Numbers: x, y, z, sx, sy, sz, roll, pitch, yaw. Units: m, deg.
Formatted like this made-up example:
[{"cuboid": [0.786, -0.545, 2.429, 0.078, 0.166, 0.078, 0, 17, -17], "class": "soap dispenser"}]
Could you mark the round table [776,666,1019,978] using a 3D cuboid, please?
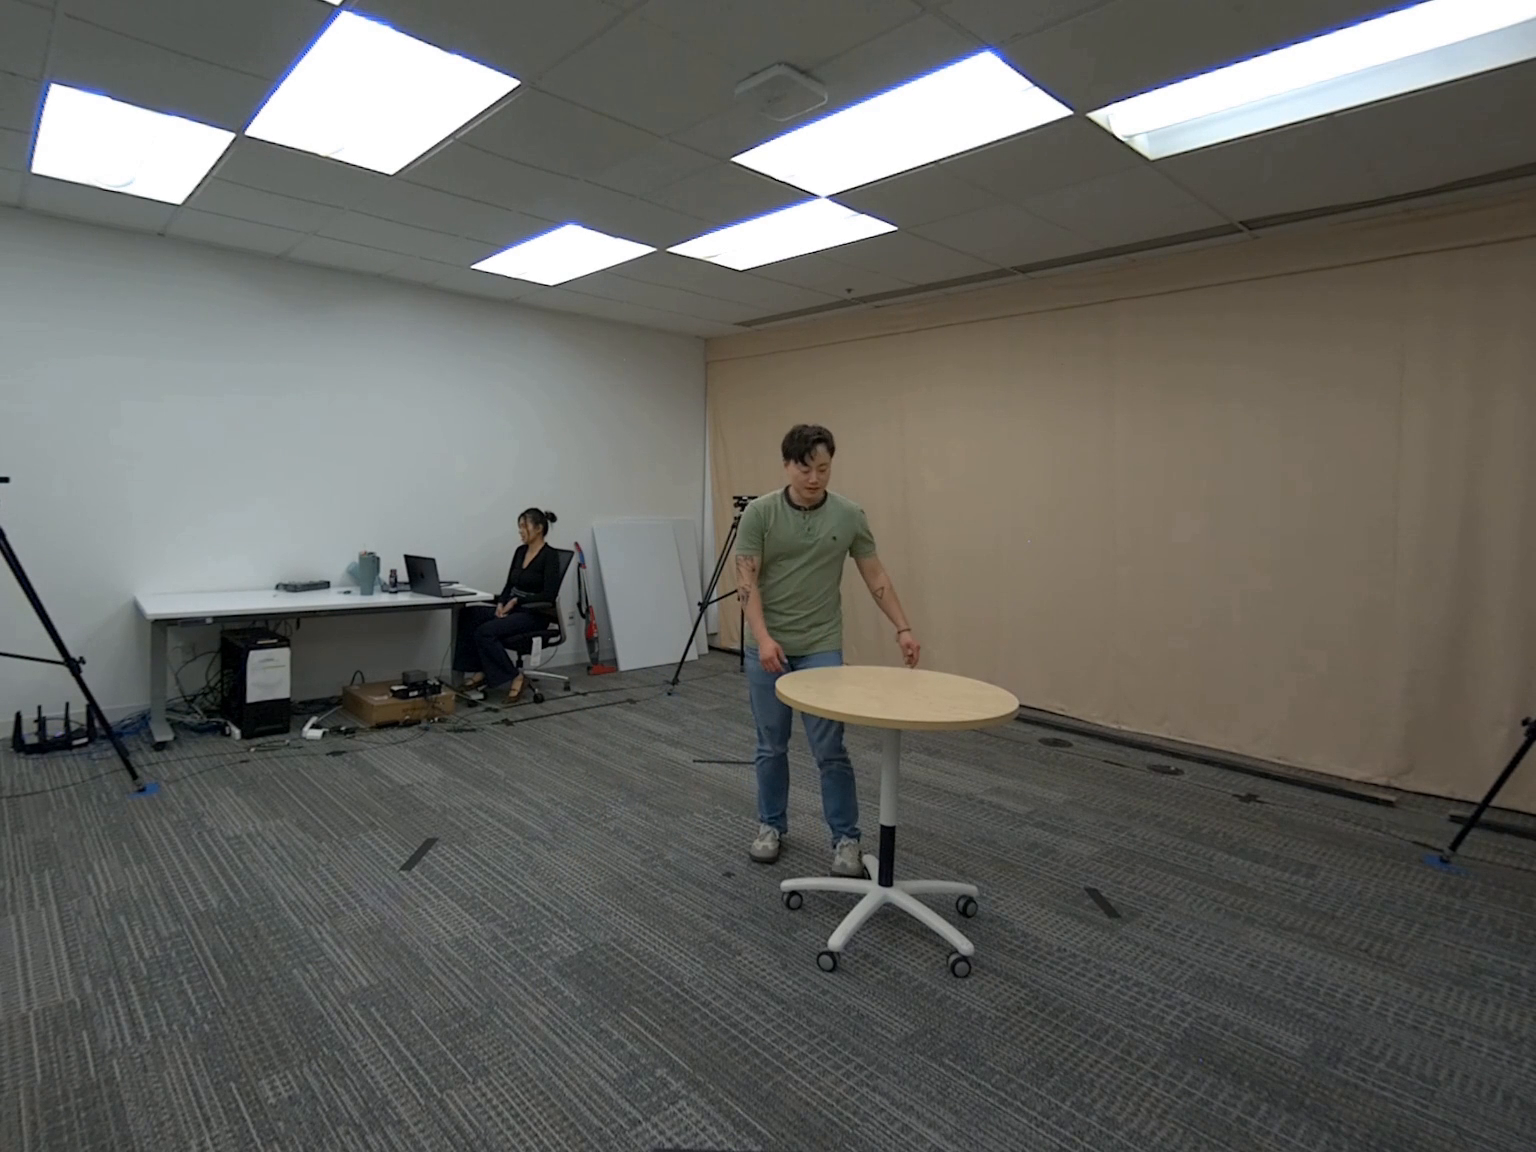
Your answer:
[{"cuboid": [0.384, 0.757, 2.740, 0.763, 0.792, 0.767, 2, 4, -2], "class": "round table"}]
